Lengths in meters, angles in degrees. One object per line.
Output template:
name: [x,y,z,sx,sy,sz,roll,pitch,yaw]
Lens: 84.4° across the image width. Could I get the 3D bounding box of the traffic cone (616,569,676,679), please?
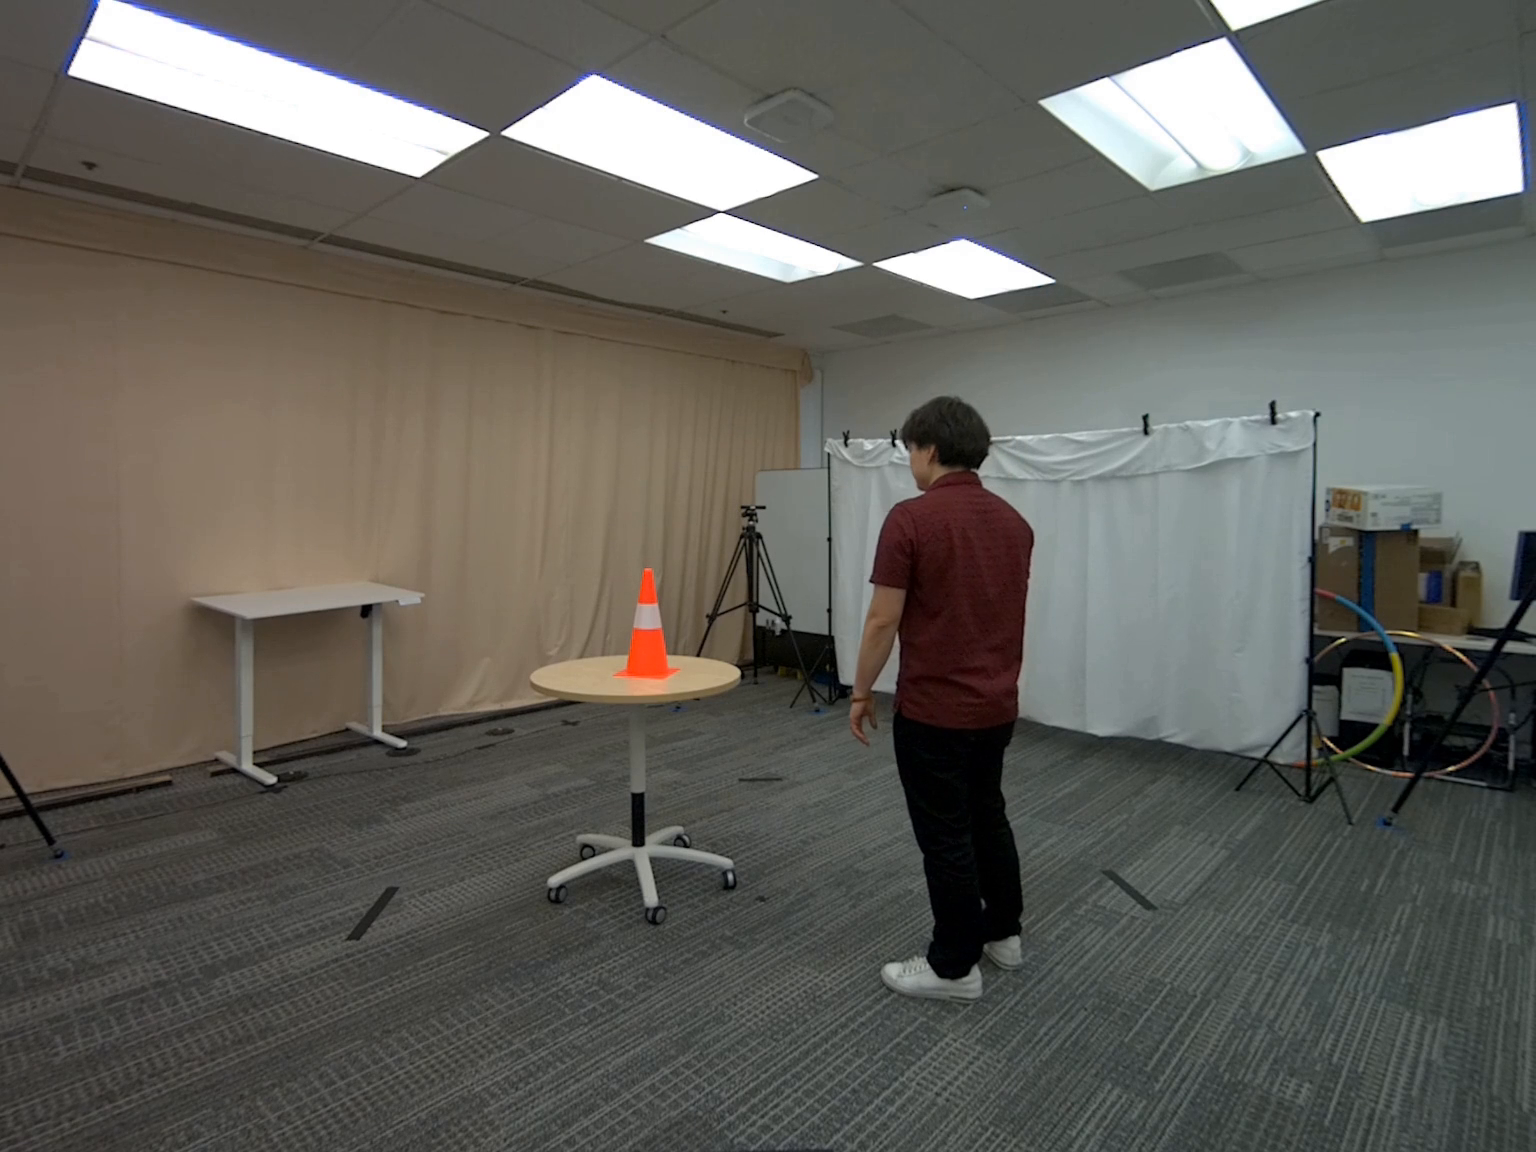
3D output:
traffic cone: [-0.444,0.168,3.088,0.209,0.383,0.199,0,2,18]
